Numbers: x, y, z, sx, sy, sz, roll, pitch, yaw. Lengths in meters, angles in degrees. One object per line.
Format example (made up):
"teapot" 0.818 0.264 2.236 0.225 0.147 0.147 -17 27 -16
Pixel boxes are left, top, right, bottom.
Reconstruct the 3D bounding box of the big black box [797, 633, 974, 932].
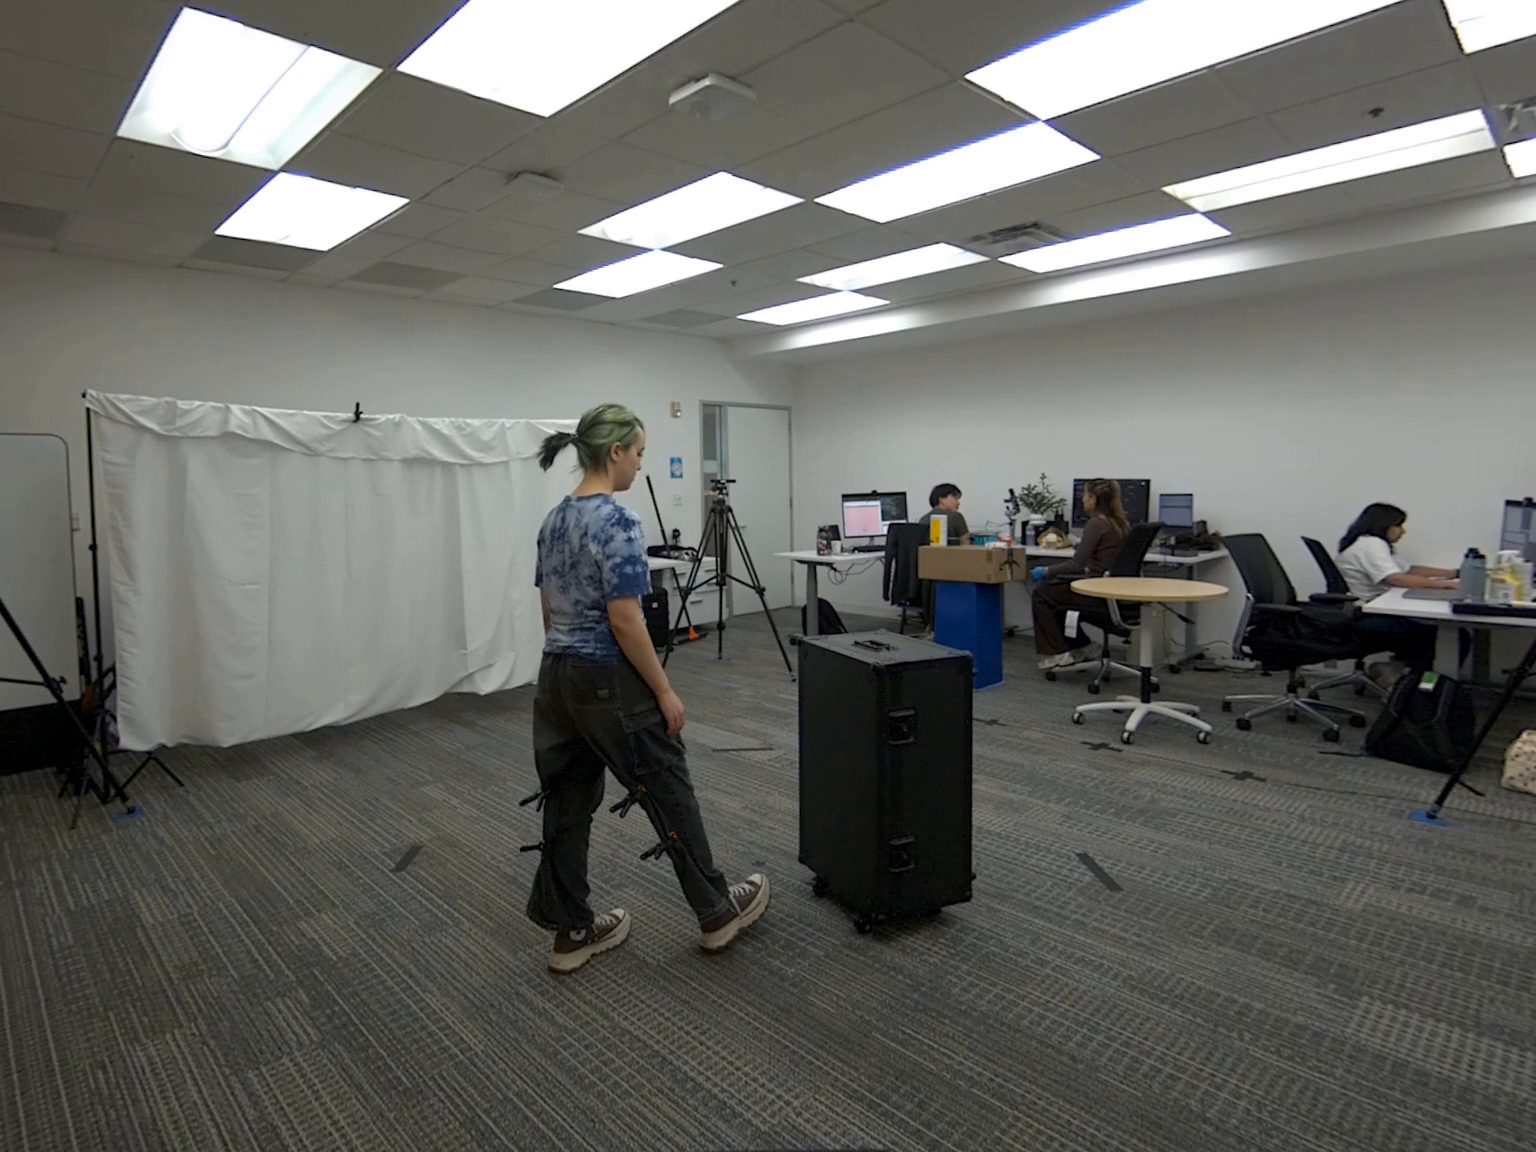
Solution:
"big black box" 0.380 0.651 2.803 0.387 0.859 0.534 -1 4 -26
